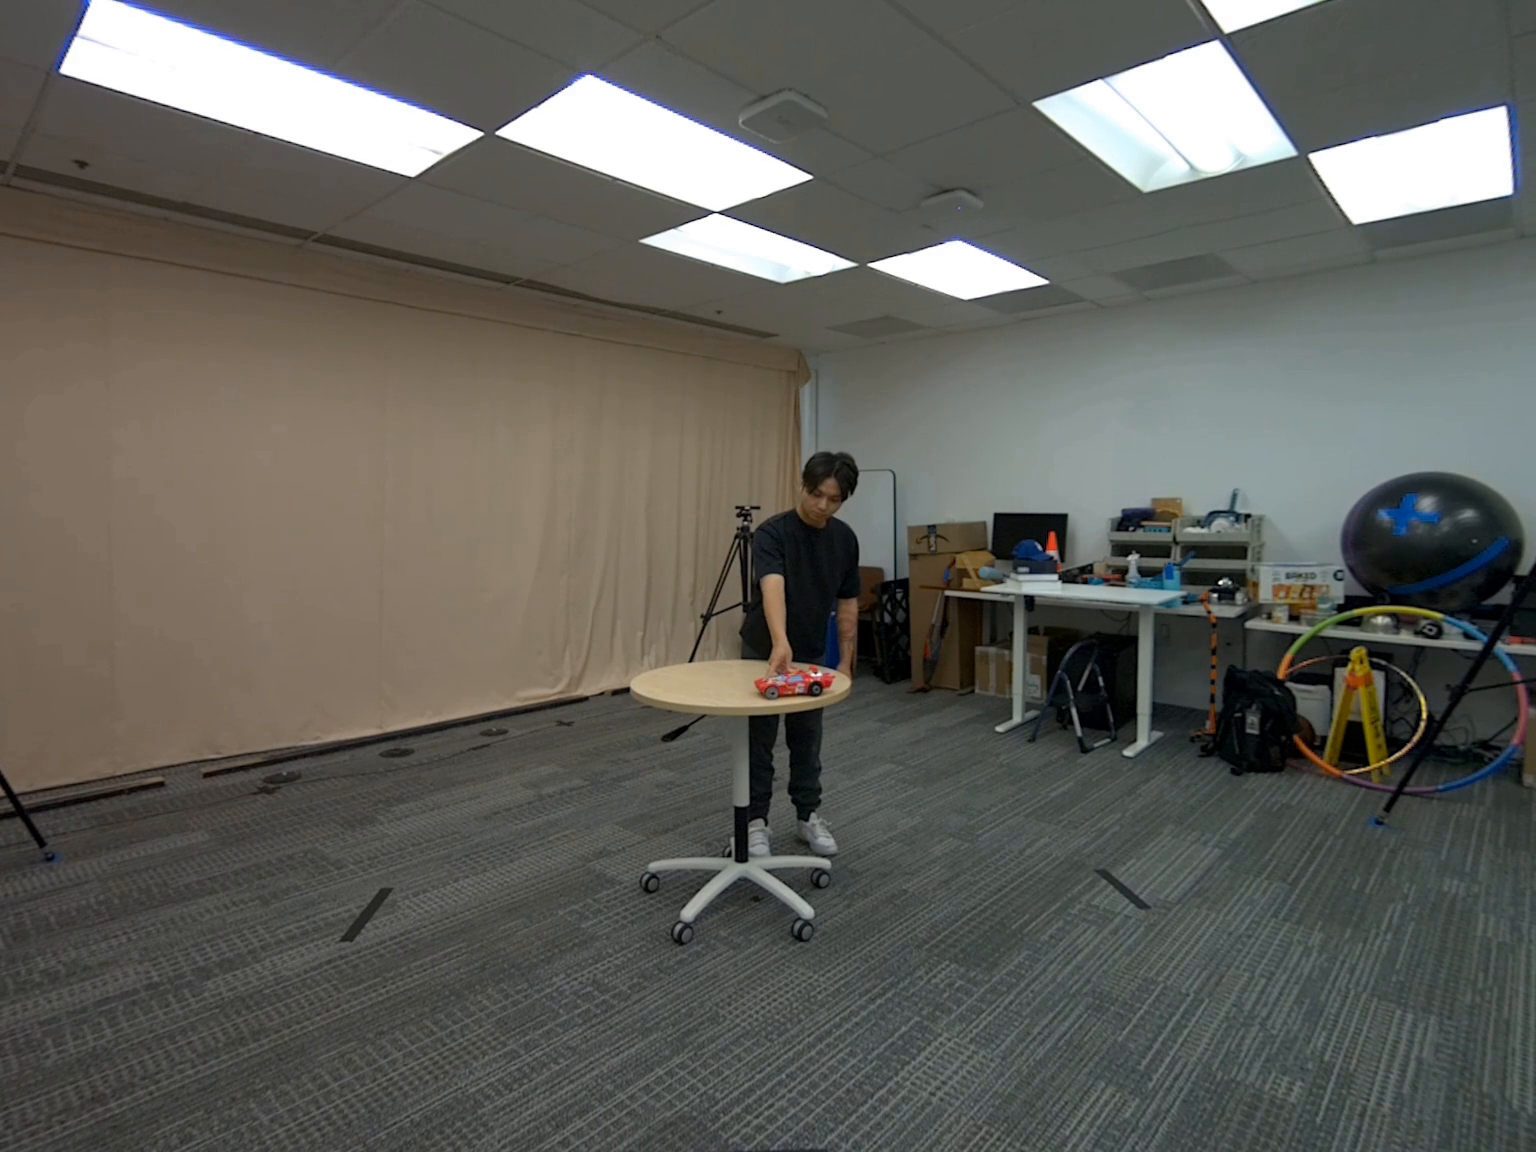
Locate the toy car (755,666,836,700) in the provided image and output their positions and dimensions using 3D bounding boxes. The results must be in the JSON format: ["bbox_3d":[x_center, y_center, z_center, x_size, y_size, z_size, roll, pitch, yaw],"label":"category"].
[{"bbox_3d":[0.091,0.350,2.716,0.252,0.083,0.132,-14,7,-12],"label":"toy car"}]
